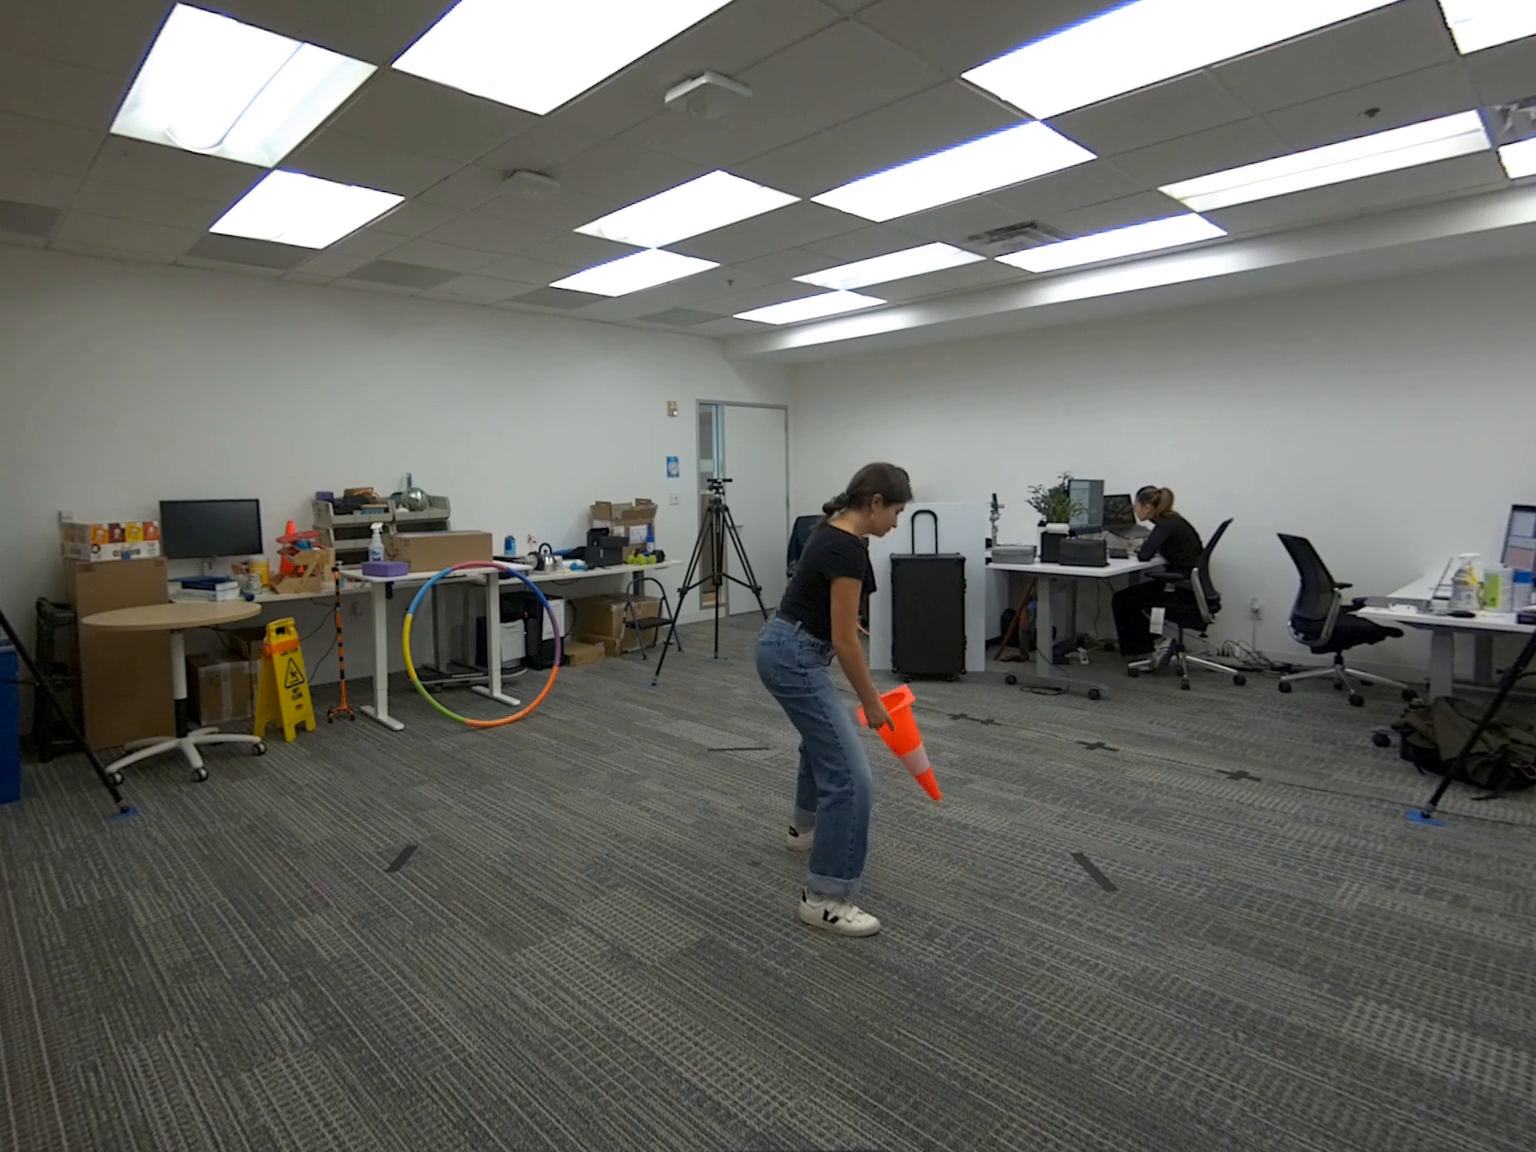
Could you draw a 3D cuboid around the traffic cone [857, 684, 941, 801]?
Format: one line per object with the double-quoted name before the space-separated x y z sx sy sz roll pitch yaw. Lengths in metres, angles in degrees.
"traffic cone" 0.504 0.616 2.923 0.205 0.380 0.205 -31 7 -3
